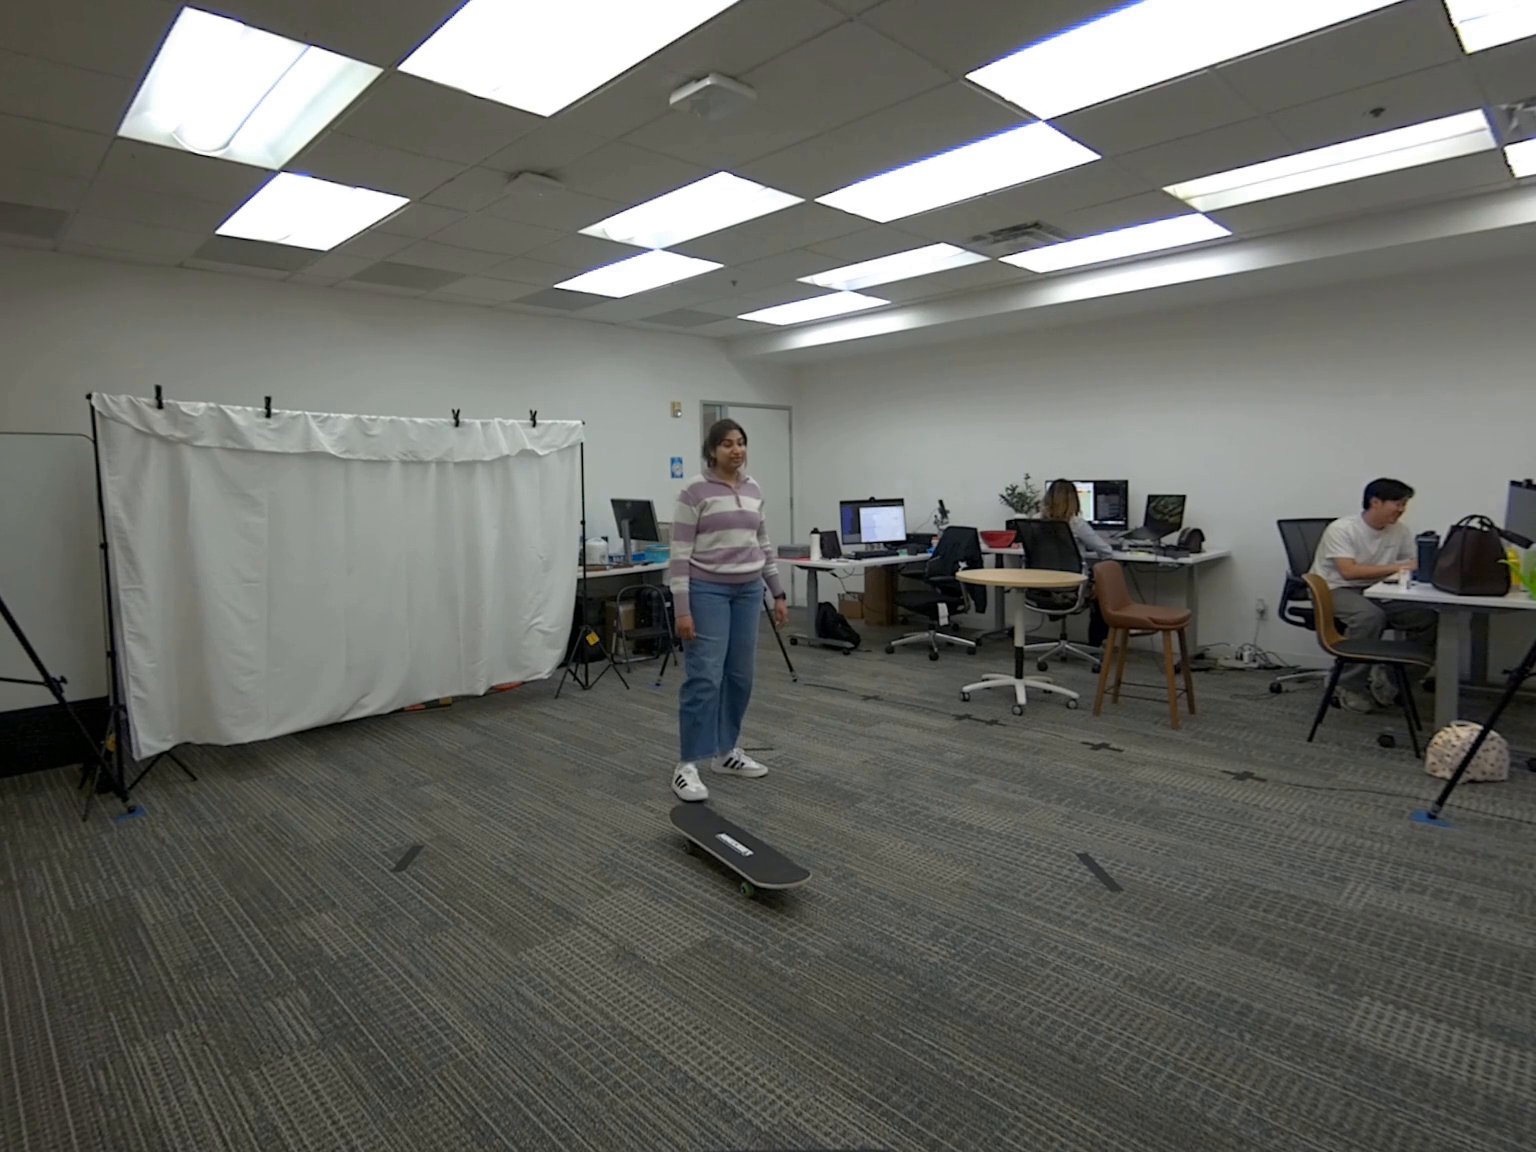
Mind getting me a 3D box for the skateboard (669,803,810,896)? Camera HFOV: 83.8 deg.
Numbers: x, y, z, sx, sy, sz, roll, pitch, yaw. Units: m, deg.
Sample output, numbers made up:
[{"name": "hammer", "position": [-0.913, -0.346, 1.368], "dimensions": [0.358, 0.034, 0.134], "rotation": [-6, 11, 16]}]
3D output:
[{"name": "skateboard", "position": [-0.122, 1.000, 3.070], "dimensions": [0.189, 0.110, 0.808], "rotation": [-6, 8, -33]}]
